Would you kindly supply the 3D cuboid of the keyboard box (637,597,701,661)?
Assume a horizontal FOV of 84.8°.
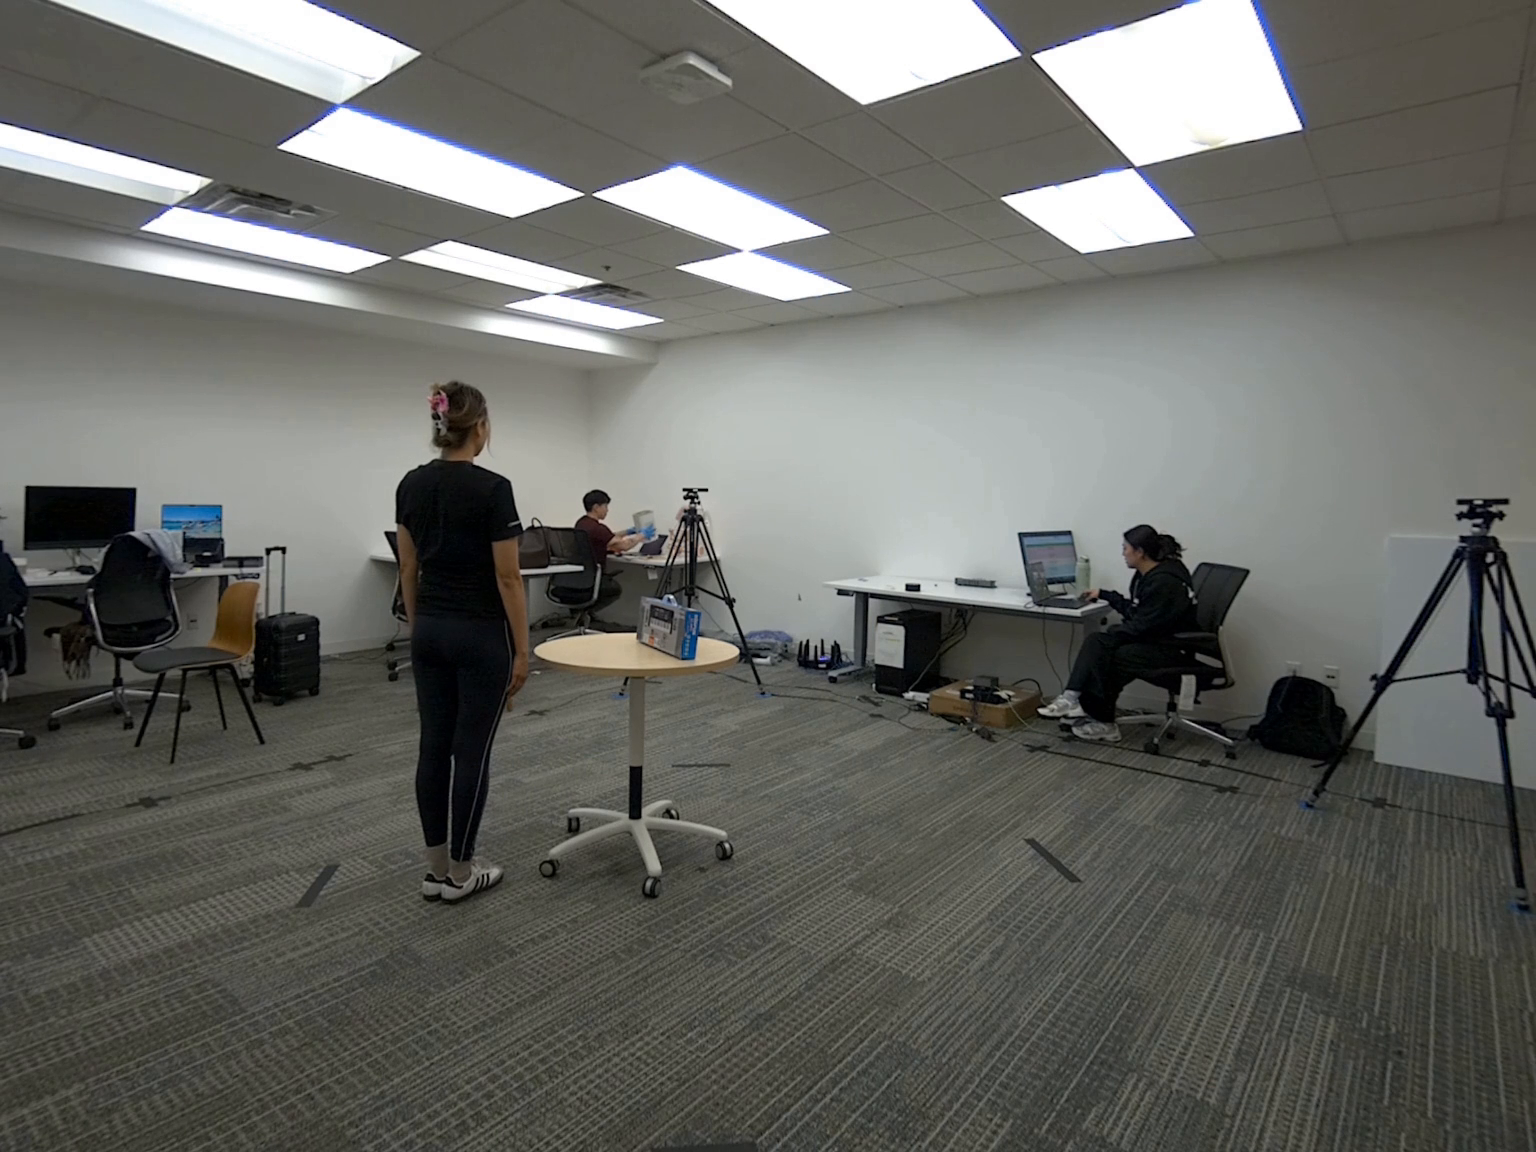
[{"bbox_3d":[-0.392,0.189,3.185,0.057,0.176,0.449,5,2,-29],"label":"keyboard box"}]
